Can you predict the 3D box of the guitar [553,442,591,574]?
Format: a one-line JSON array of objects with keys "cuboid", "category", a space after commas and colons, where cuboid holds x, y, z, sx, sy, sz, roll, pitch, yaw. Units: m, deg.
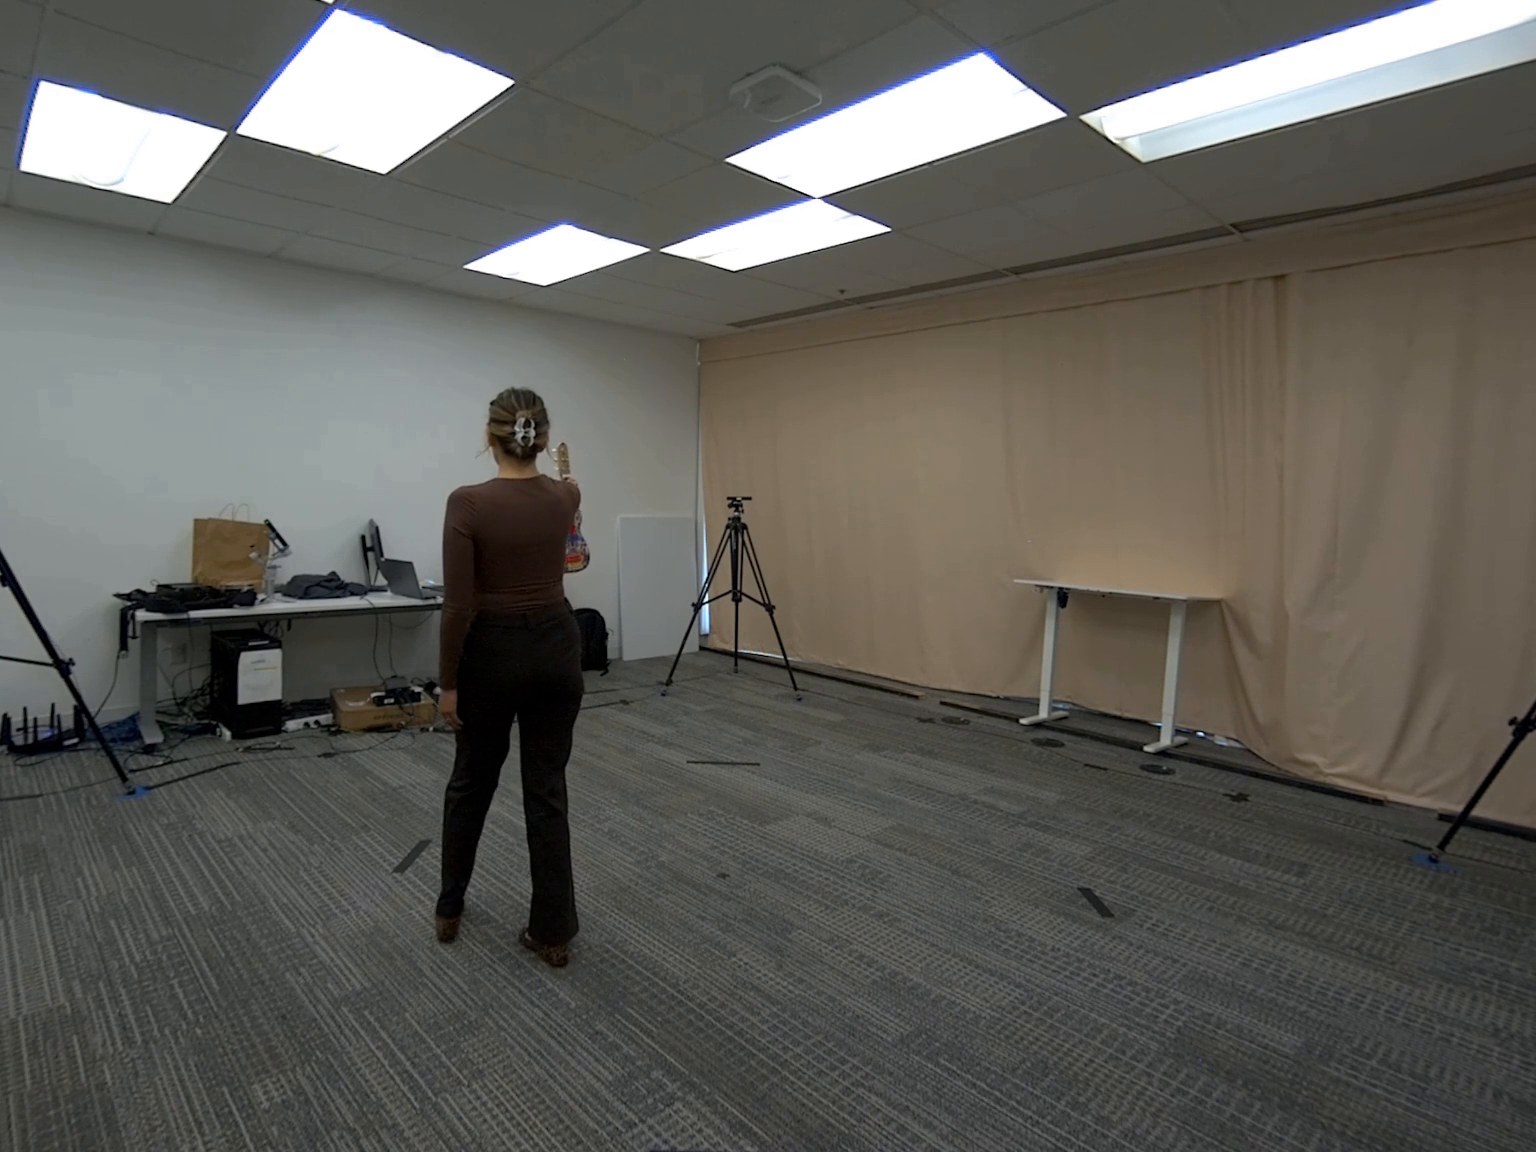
[{"cuboid": [-0.779, -0.259, 3.261, 0.072, 0.499, 0.189, -3, -4, 27], "category": "guitar"}]
